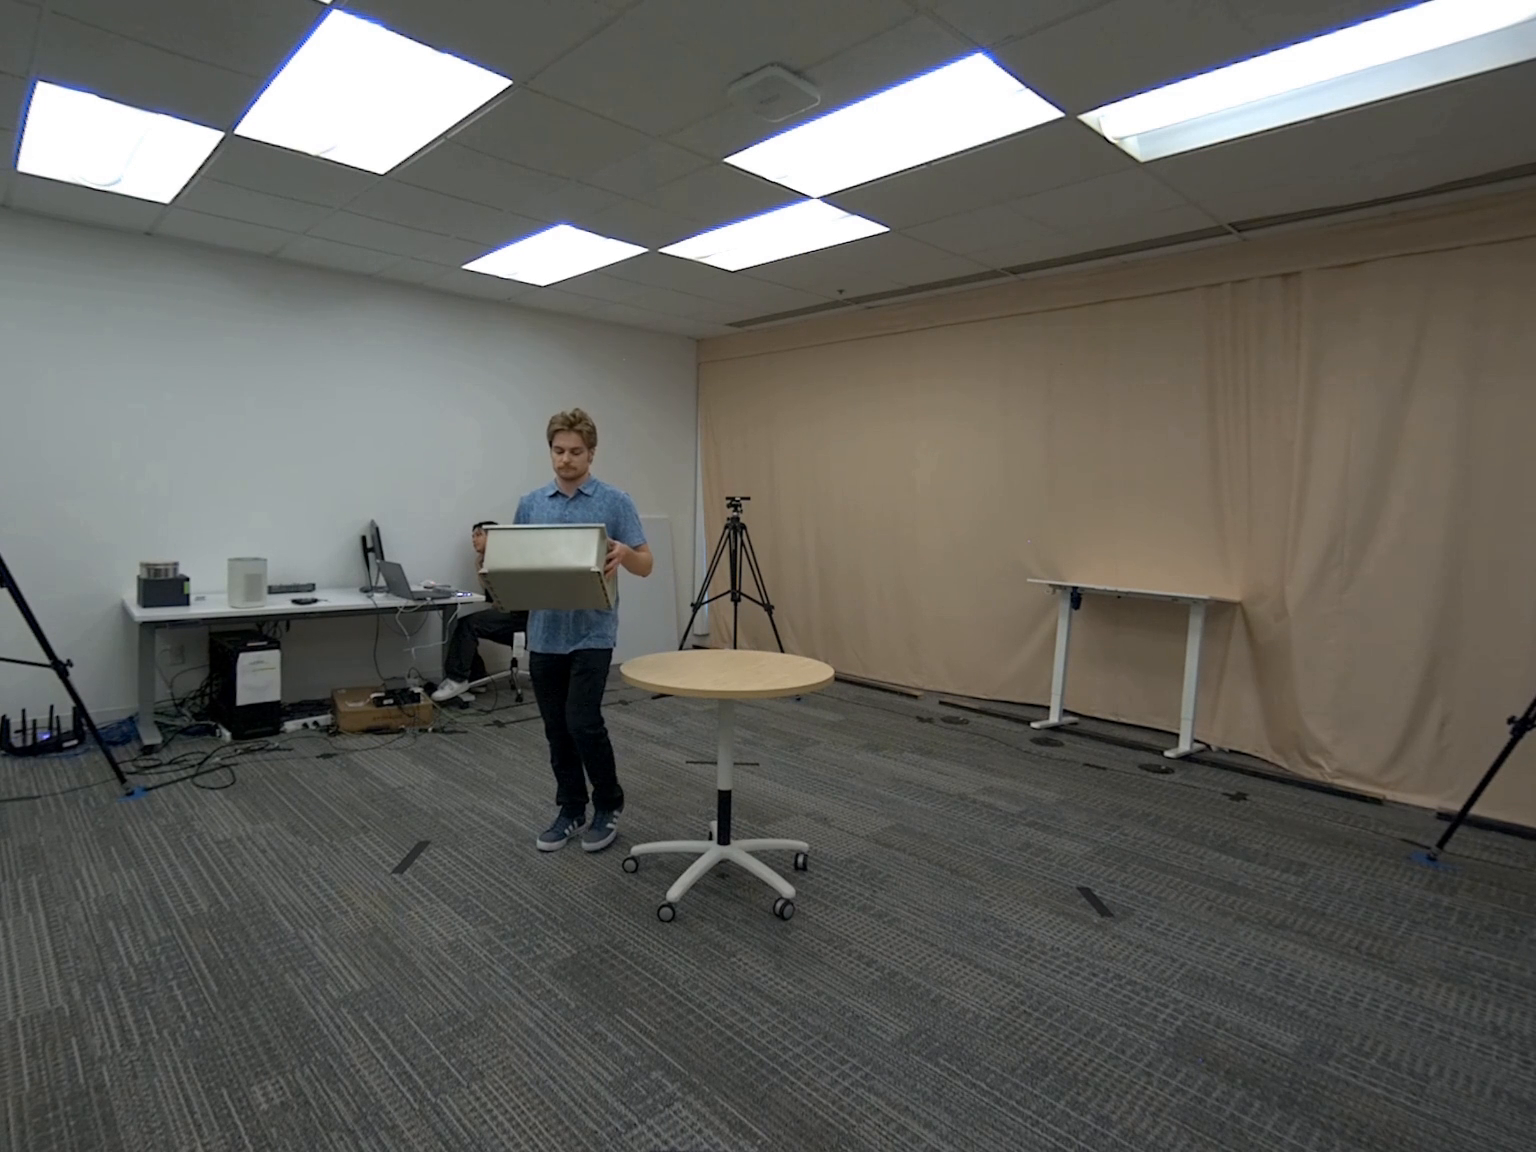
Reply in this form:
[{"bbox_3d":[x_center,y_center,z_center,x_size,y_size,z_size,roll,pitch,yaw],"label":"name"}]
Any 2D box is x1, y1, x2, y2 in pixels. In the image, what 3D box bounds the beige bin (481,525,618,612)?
[{"bbox_3d":[-0.789,-0.011,3.011,0.421,0.192,0.371,-2,-26,-3],"label":"beige bin"}]
